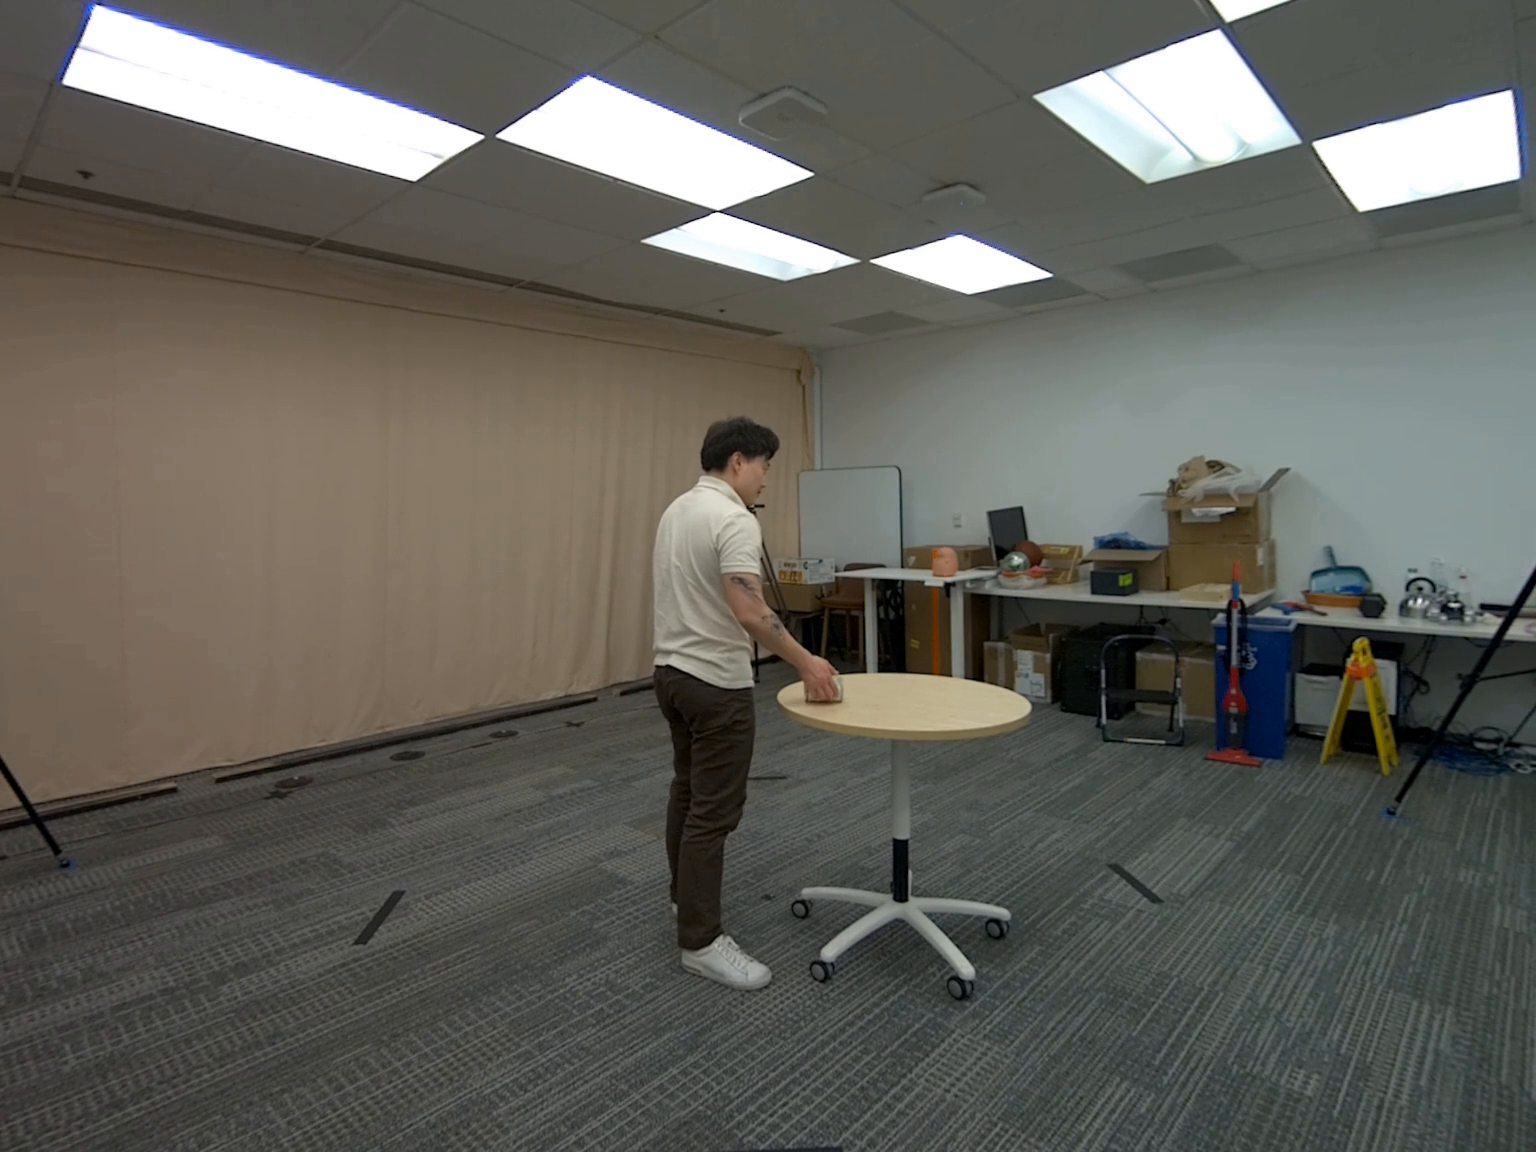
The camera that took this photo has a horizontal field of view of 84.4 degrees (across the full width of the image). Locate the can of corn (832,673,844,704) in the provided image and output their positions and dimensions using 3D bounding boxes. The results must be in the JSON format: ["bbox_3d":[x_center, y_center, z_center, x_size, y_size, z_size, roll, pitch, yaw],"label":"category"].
[{"bbox_3d":[0.171,0.347,2.575,0.111,0.074,0.074,0,4,2],"label":"can of corn"}]
